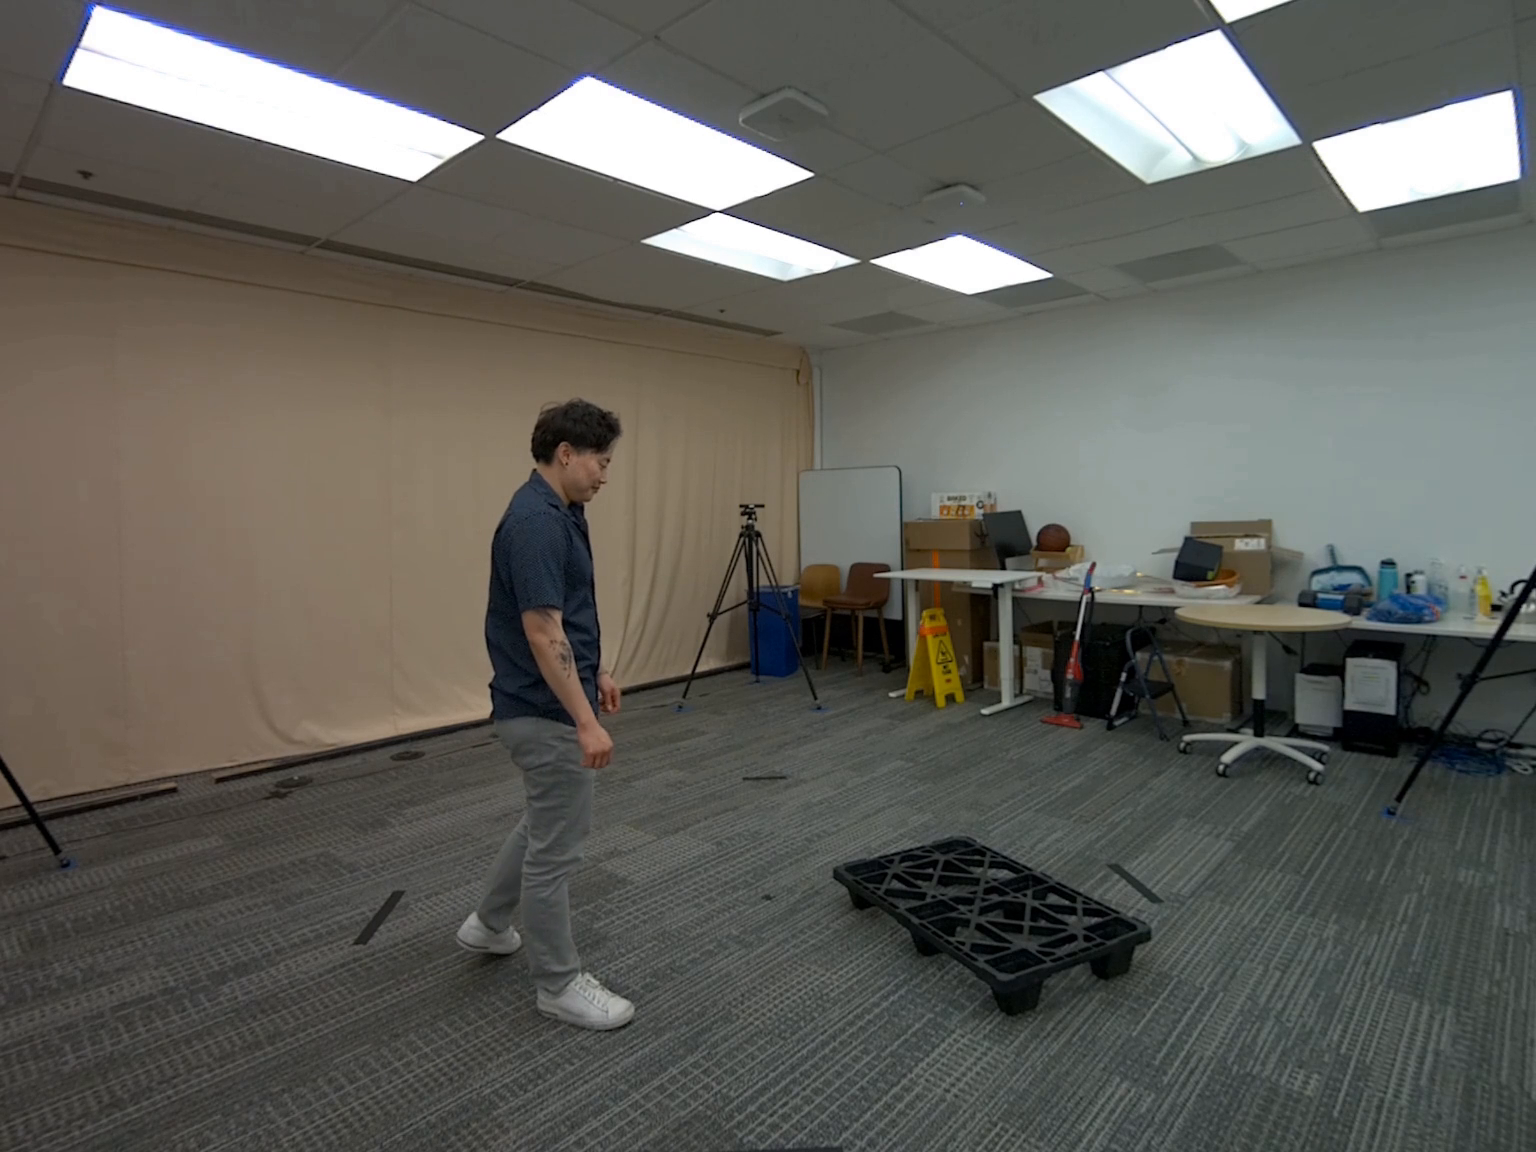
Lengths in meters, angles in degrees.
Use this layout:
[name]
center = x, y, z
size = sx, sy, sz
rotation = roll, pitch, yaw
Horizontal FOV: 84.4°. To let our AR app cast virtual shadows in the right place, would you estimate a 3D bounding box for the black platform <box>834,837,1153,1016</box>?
[black platform]
center = 0.683, 1.085, 2.699
size = 0.590, 0.143, 0.828
rotation = -3, 5, -28
